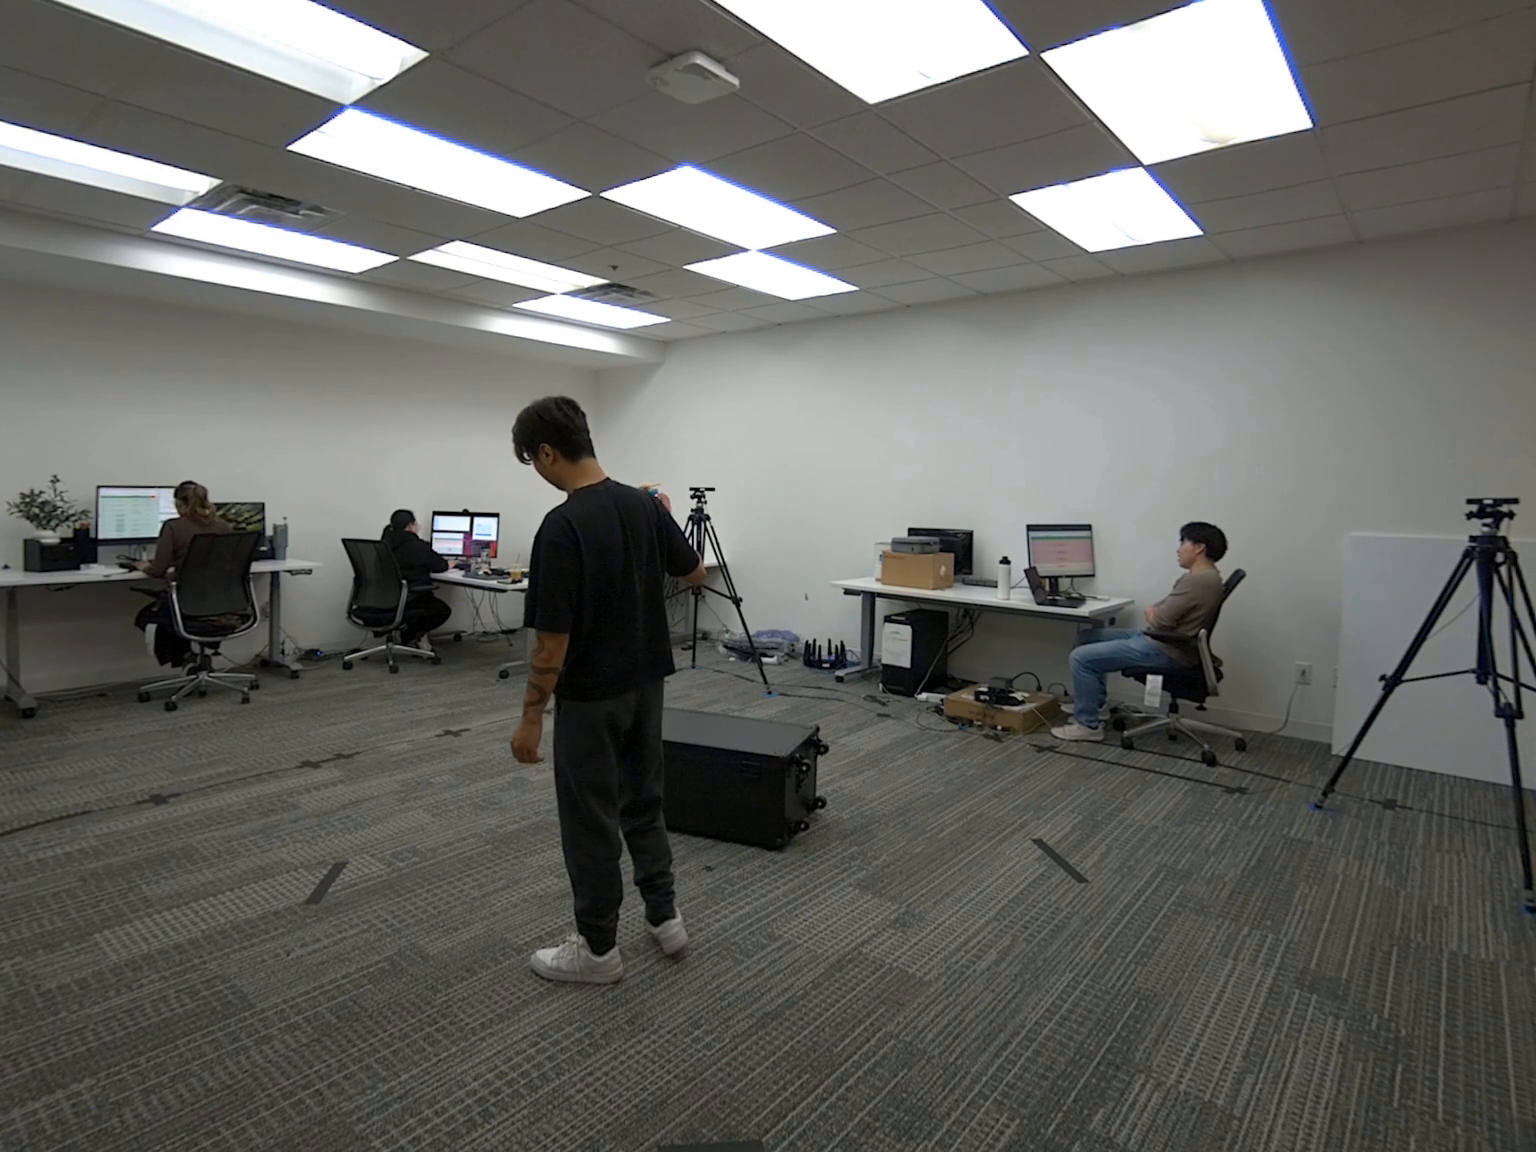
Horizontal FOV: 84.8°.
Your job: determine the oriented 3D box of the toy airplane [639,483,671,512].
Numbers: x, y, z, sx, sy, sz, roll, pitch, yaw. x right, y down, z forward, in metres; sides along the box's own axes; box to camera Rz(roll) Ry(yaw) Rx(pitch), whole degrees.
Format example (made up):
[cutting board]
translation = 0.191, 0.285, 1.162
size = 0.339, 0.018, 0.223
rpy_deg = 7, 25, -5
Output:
[toy airplane]
translation = -0.404, -0.186, 2.906
size = 0.157, 0.250, 0.258
rpy_deg = -24, 30, 10
